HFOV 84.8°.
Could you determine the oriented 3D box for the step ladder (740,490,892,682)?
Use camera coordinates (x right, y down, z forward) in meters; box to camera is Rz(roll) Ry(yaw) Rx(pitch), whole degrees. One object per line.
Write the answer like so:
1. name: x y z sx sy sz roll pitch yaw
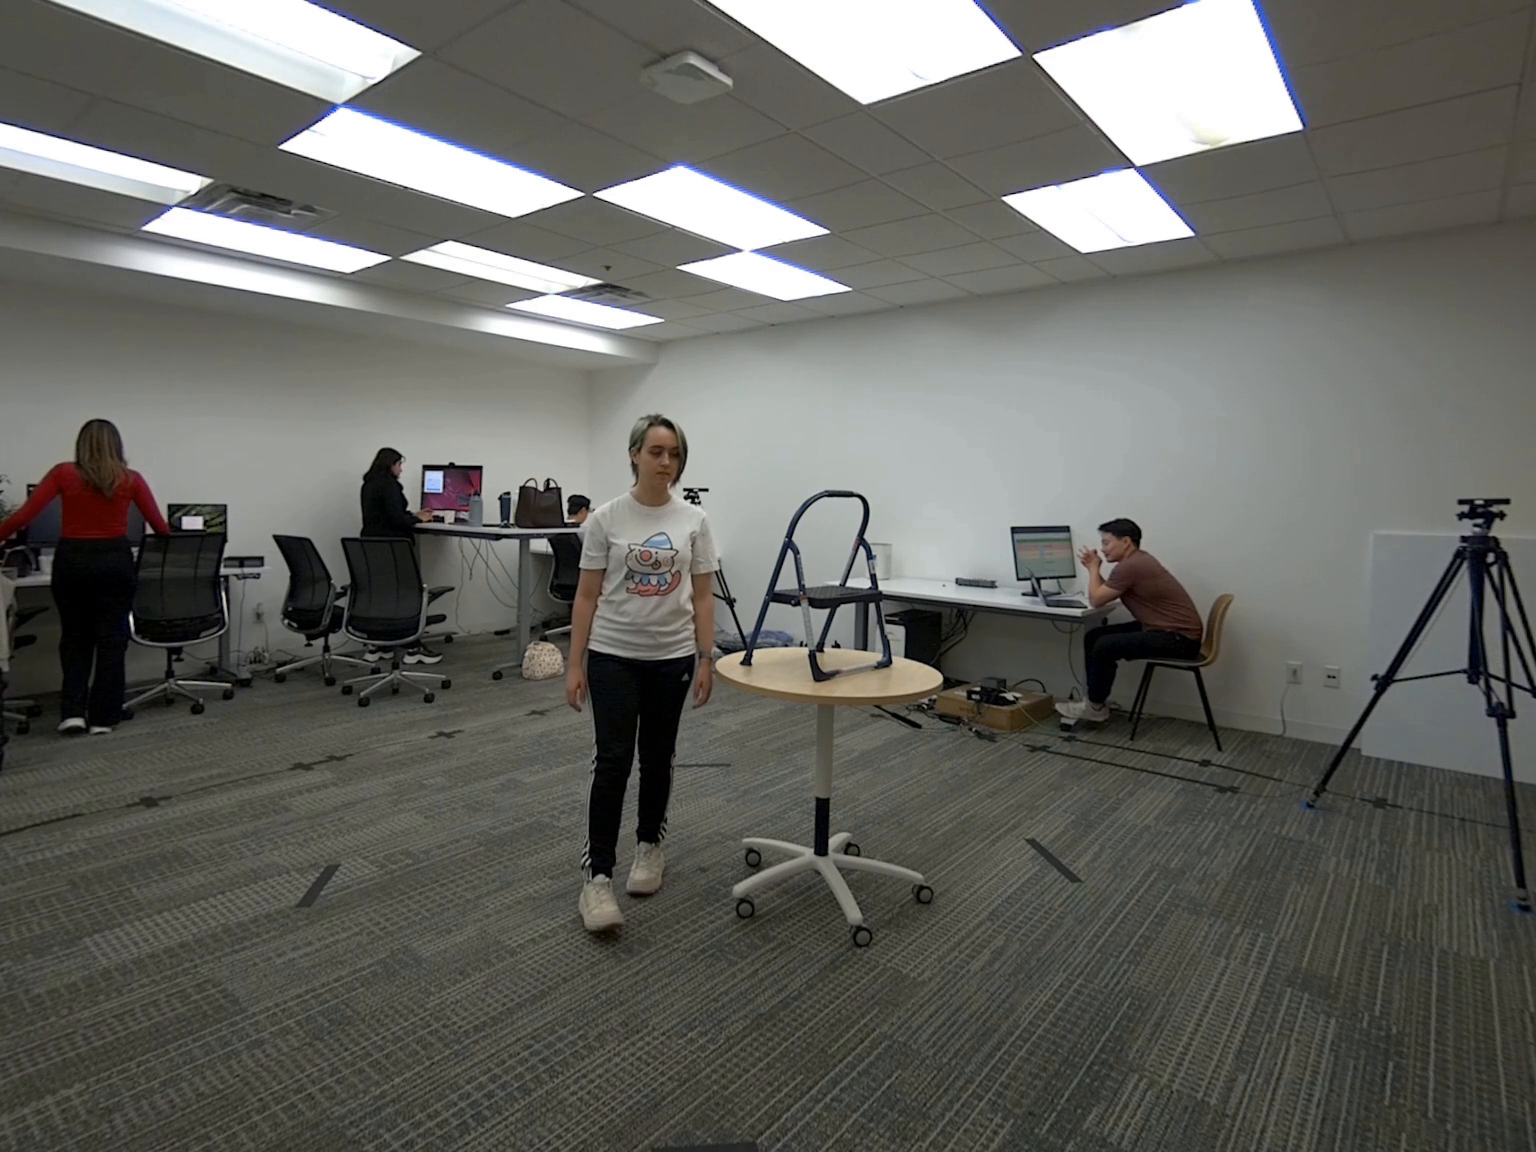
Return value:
1. step ladder: 0.174 0.010 2.935 0.361 0.604 0.417 5 5 44
